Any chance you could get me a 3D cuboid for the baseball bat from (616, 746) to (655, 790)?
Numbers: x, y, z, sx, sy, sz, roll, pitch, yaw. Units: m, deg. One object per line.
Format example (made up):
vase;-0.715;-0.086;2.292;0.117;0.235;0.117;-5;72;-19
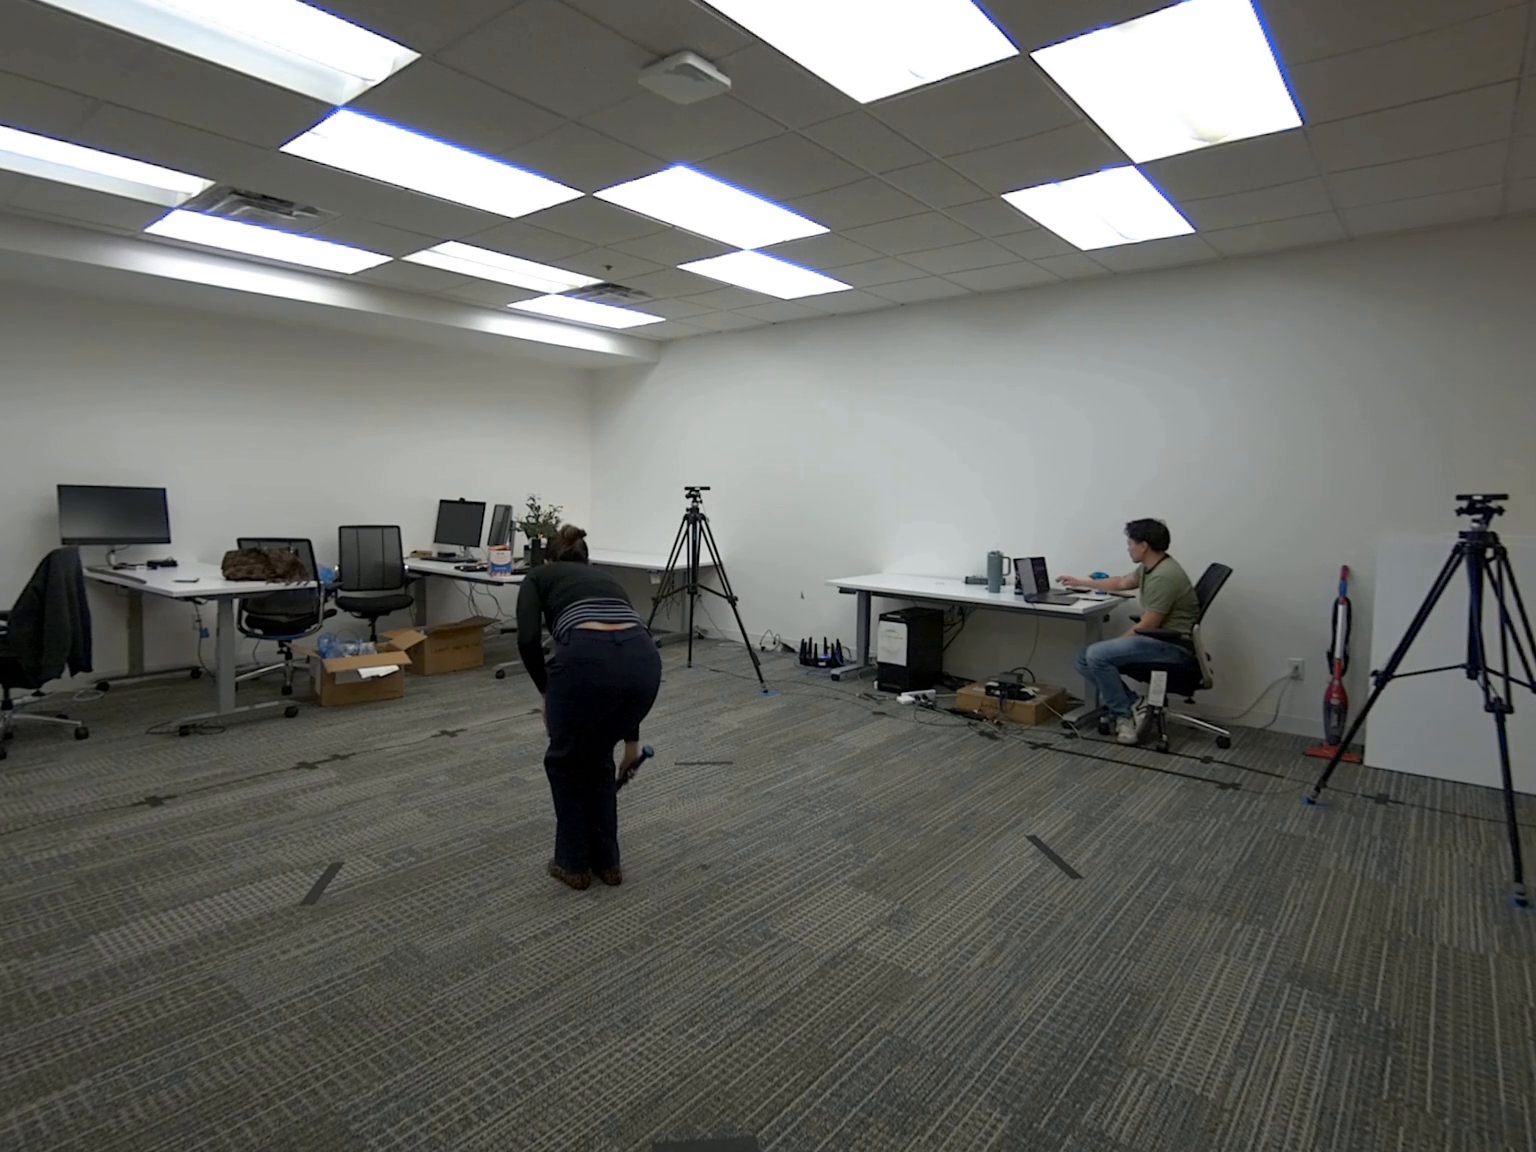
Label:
baseball bat;-0.625;0.821;3.294;0.543;0.091;0.087;-46;-20;25
